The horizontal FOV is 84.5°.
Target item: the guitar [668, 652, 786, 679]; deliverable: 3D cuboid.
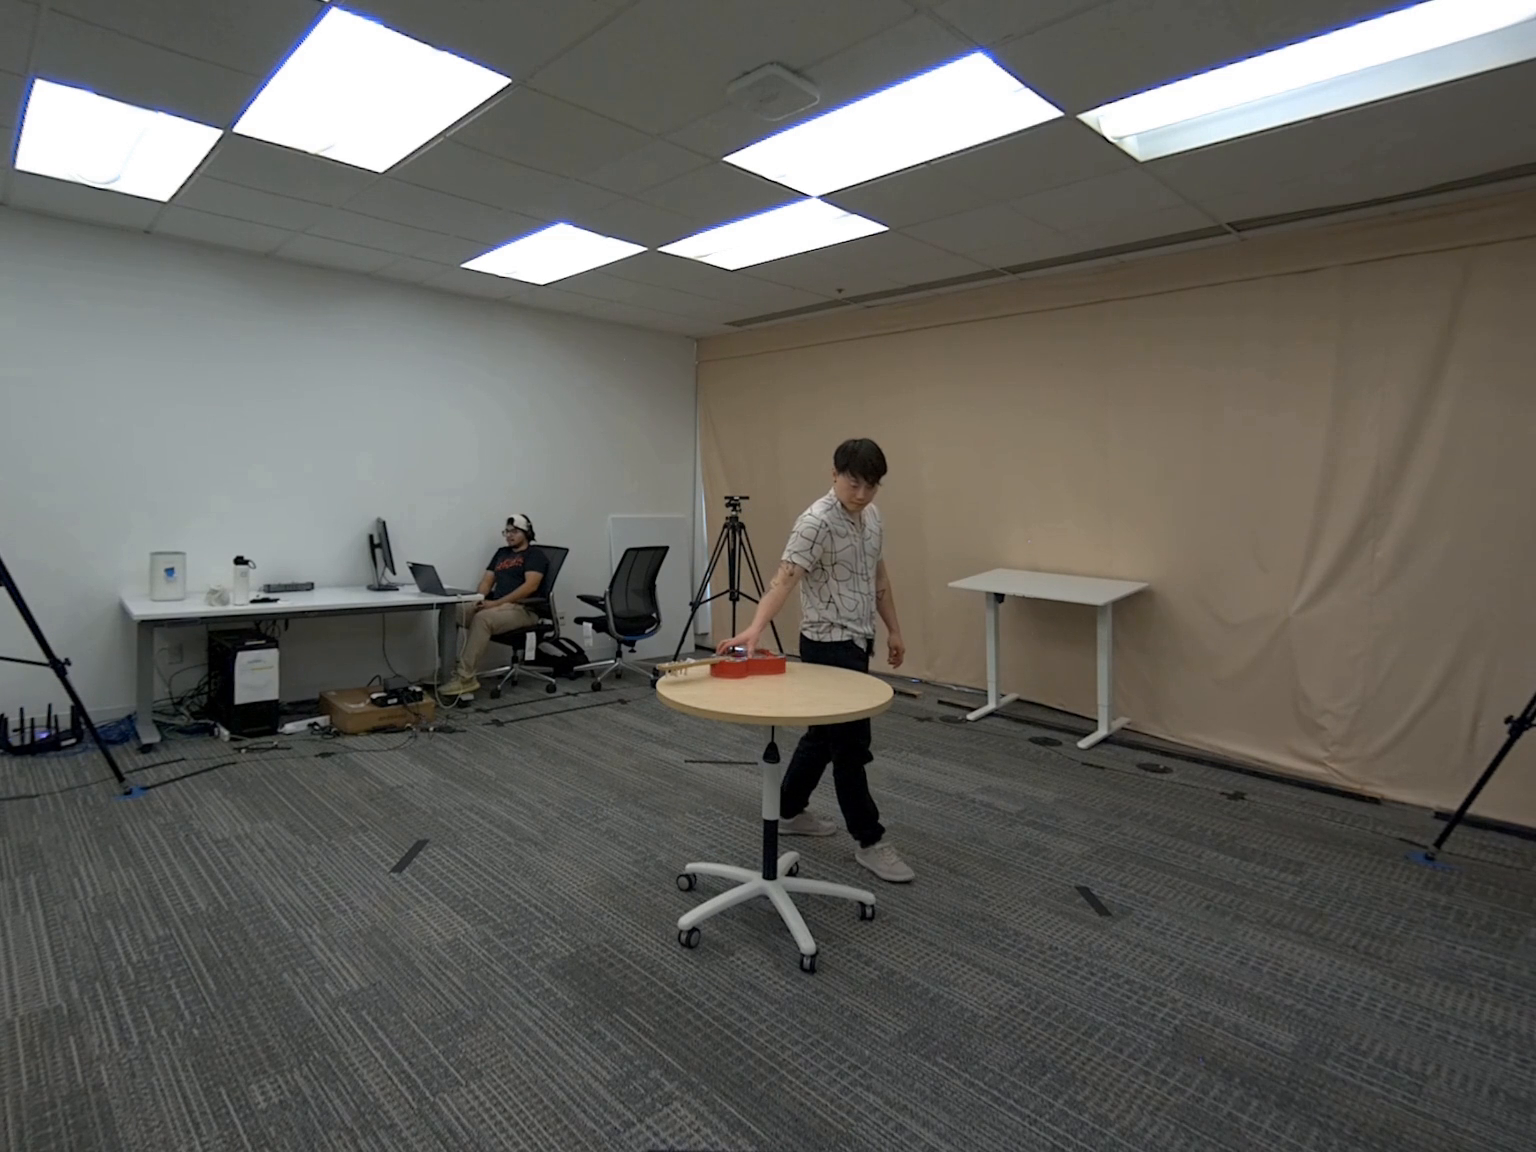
[{"bbox_3d":[-0.178,0.309,2.891,0.488,0.070,0.197,-2,6,-28],"label":"guitar"}]
